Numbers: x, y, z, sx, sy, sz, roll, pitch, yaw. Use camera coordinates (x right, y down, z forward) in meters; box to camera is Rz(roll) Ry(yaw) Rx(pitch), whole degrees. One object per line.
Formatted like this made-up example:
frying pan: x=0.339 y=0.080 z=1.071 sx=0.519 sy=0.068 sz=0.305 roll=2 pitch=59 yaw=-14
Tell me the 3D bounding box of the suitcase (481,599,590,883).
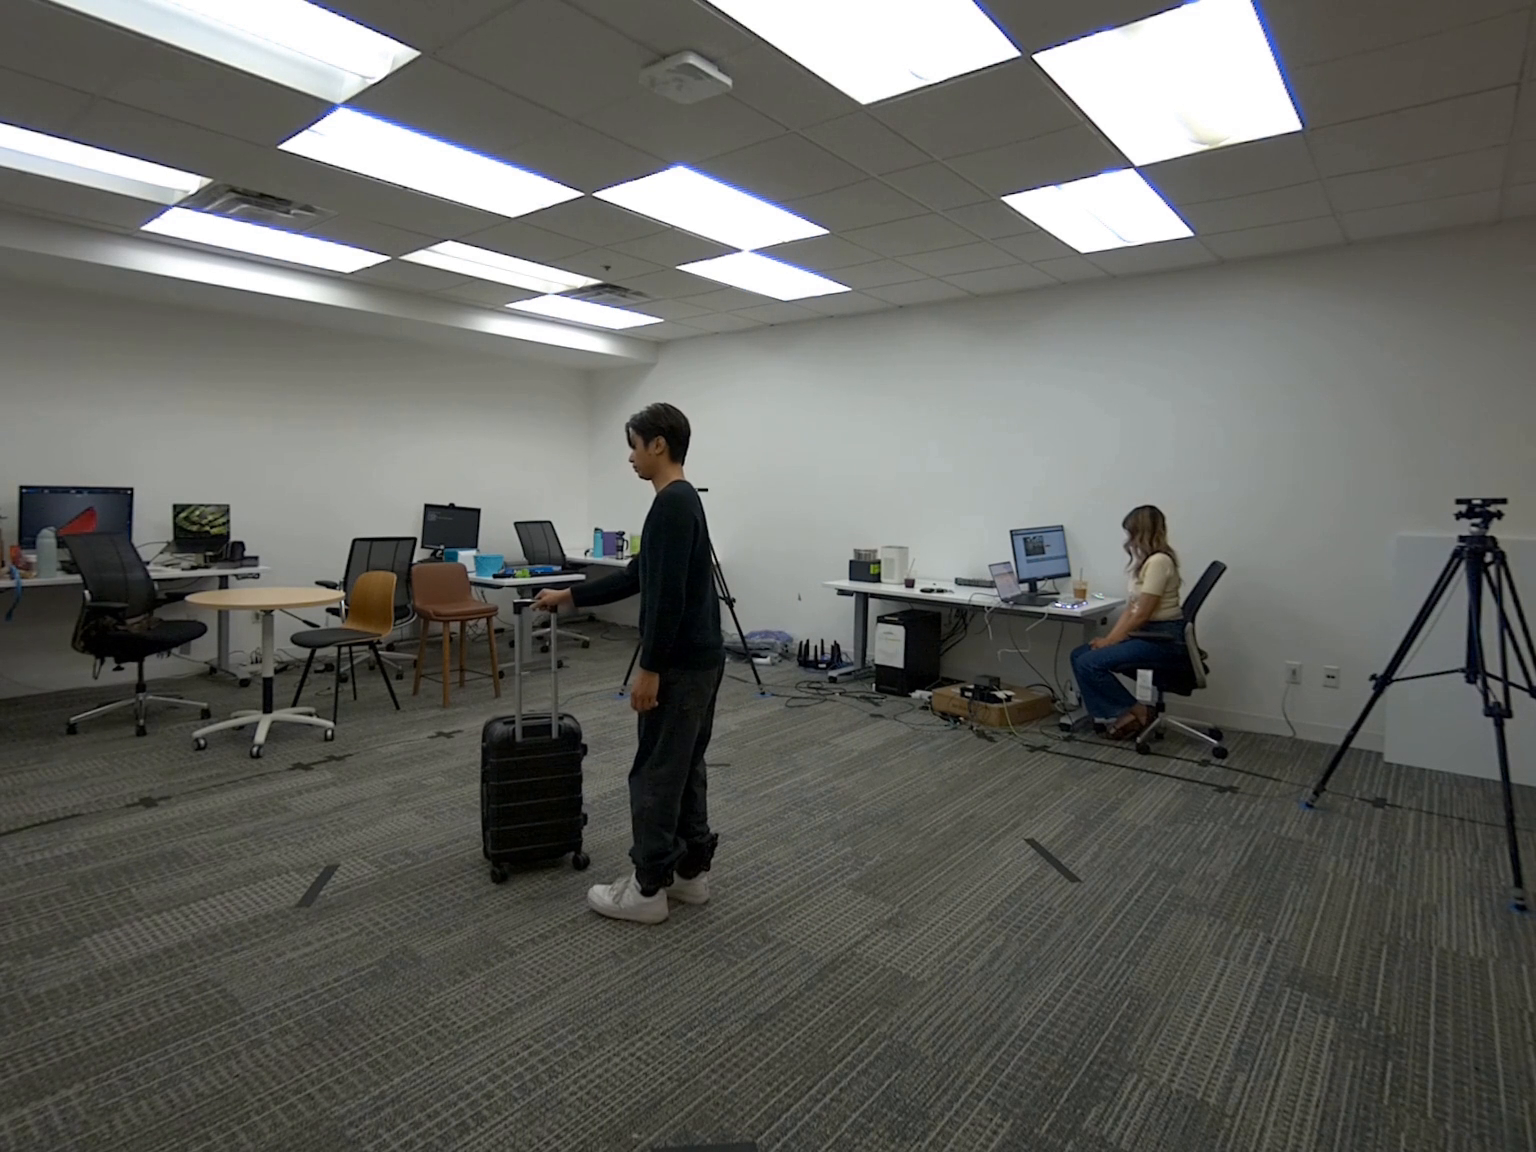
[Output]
suitcase: x=-0.890 y=0.582 z=3.145 sx=0.376 sy=0.979 sz=0.262 roll=-1 pitch=0 yaw=-20
